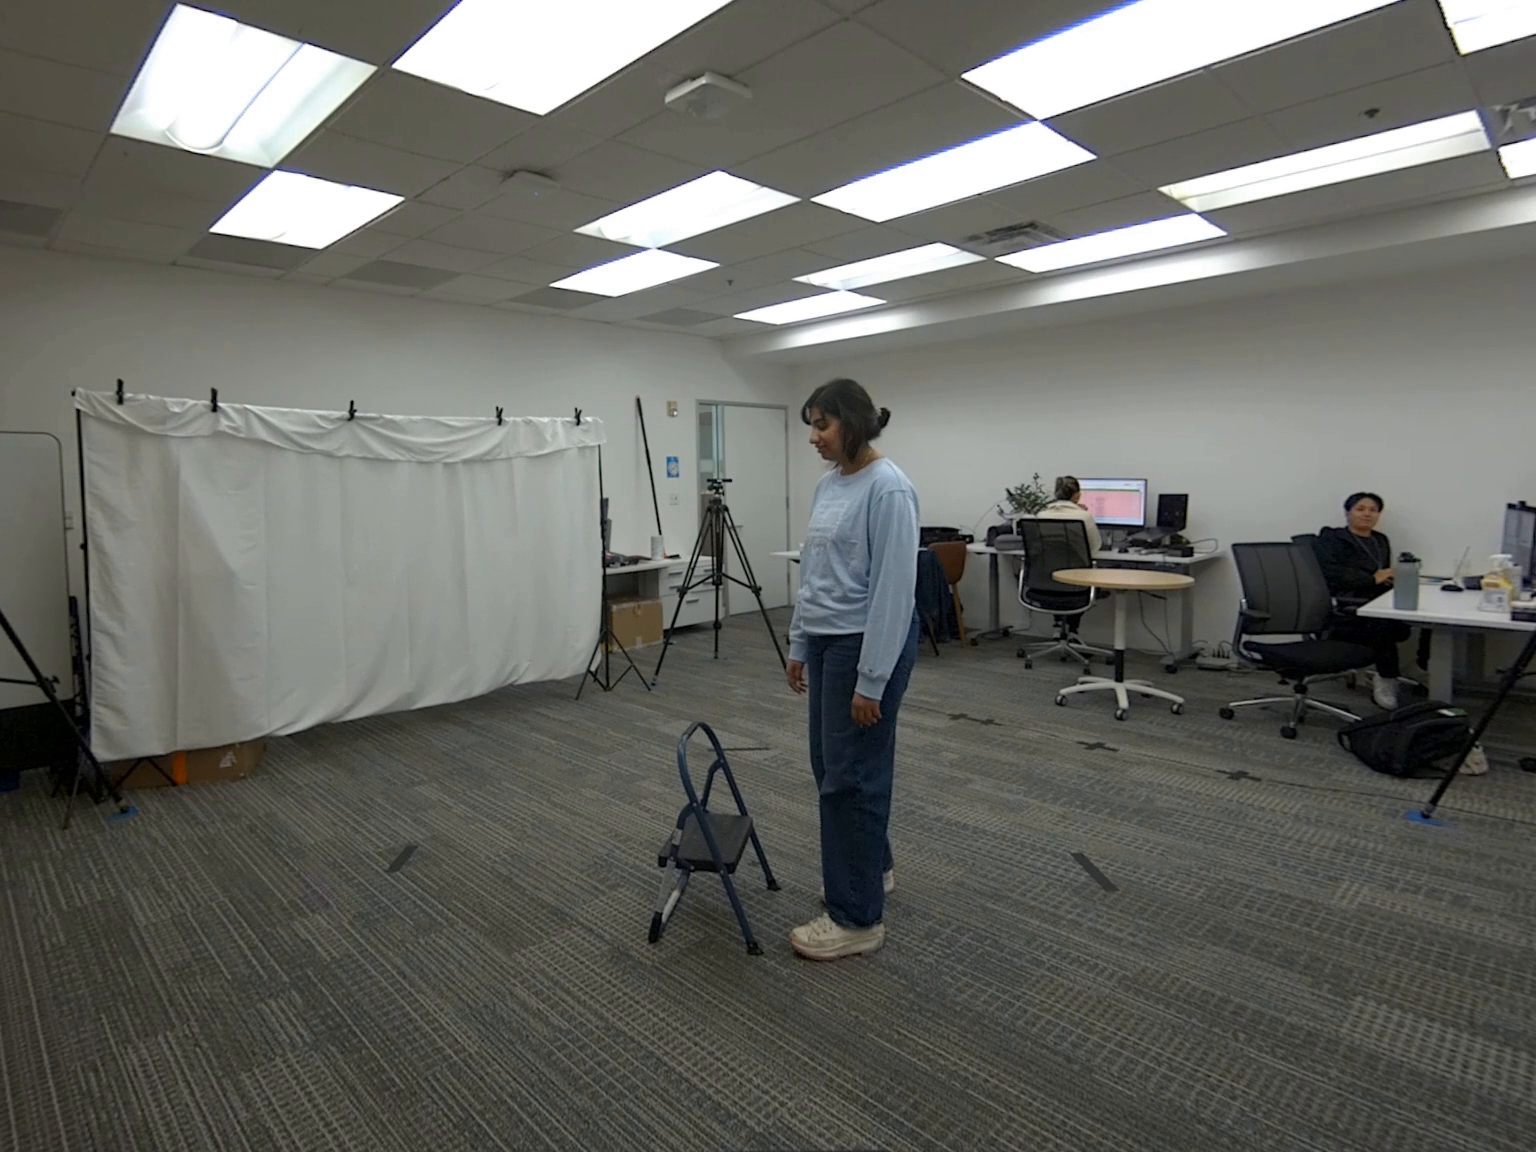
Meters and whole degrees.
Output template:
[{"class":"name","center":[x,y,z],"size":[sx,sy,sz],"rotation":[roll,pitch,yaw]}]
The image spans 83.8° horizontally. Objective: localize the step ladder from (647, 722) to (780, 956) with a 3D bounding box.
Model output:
[{"class":"step ladder","center":[-0.164,0.790,2.727],"size":[0.353,0.604,0.428],"rotation":[0,4,10]}]
